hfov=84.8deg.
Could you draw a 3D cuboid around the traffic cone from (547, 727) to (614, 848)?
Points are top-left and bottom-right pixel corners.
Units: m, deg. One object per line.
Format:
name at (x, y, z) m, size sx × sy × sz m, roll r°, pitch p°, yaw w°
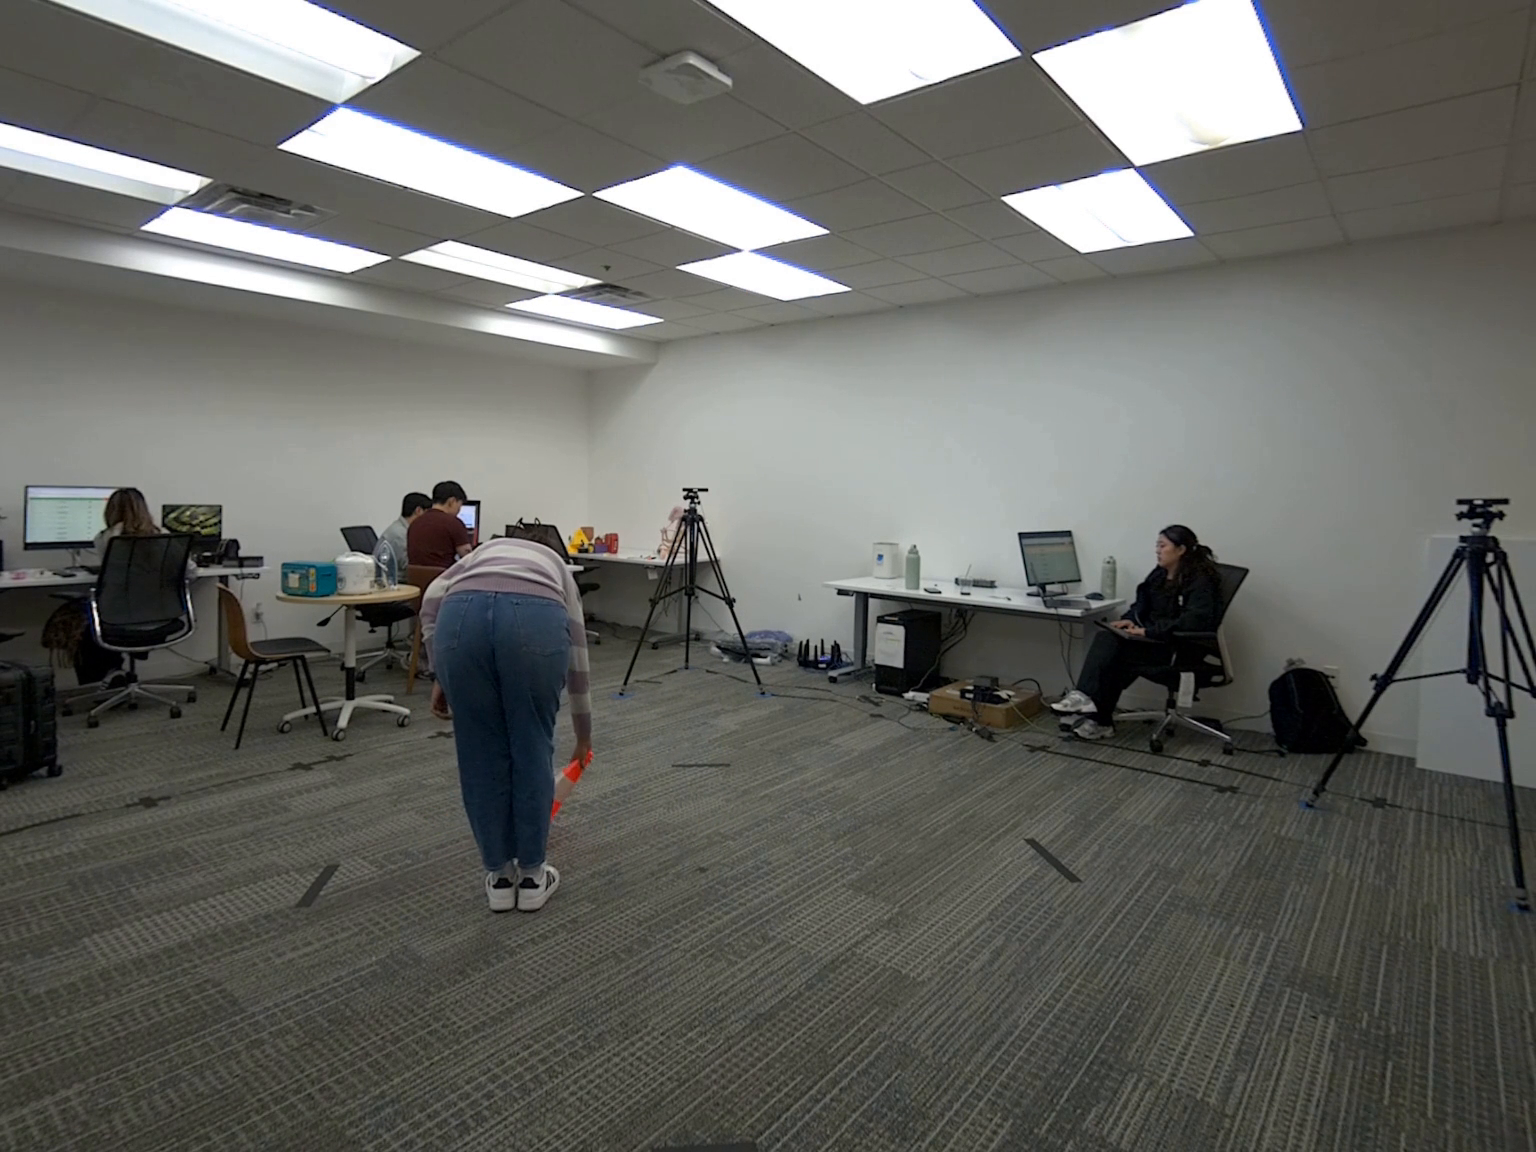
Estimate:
traffic cone at (-0.828, 0.832, 3.317) m, size 0.201 × 0.383 × 0.207 m, roll 45°, pitch -5°, yaw -14°
